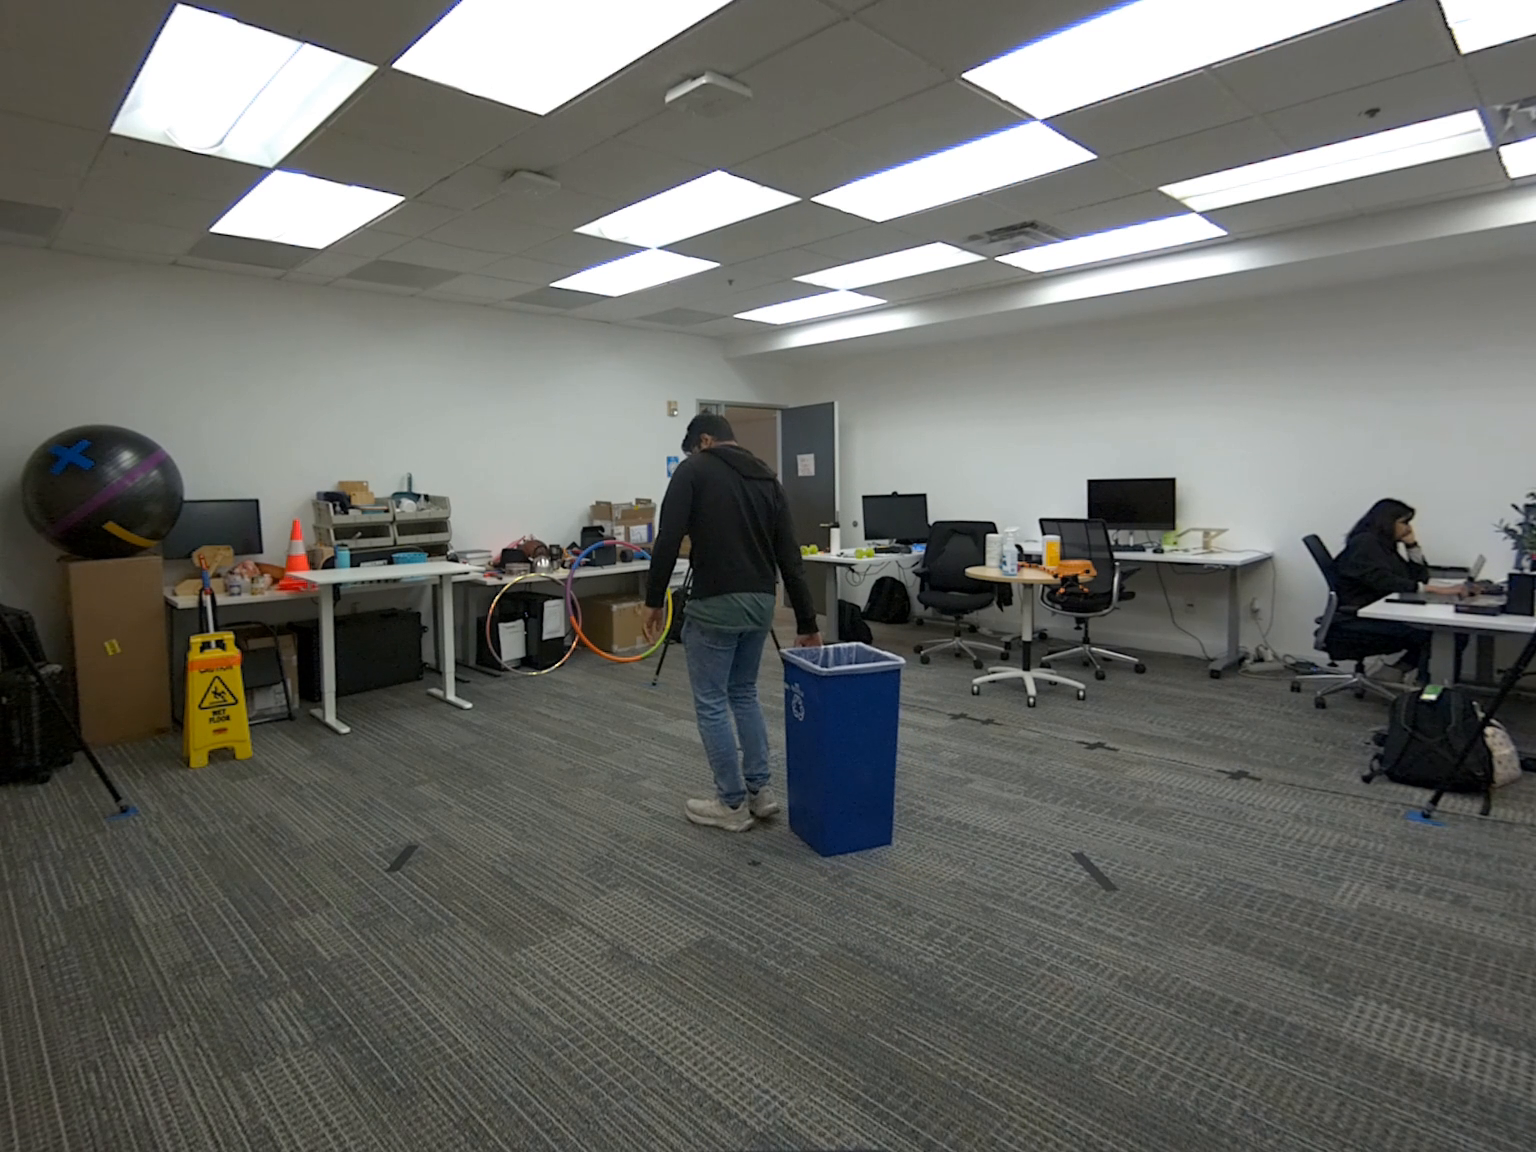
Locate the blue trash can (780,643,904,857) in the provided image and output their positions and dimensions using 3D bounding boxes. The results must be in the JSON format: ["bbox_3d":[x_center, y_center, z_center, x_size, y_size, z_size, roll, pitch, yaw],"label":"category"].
[{"bbox_3d":[0.276,0.658,3.297,0.366,0.710,0.387,-2,5,-24],"label":"blue trash can"}]
